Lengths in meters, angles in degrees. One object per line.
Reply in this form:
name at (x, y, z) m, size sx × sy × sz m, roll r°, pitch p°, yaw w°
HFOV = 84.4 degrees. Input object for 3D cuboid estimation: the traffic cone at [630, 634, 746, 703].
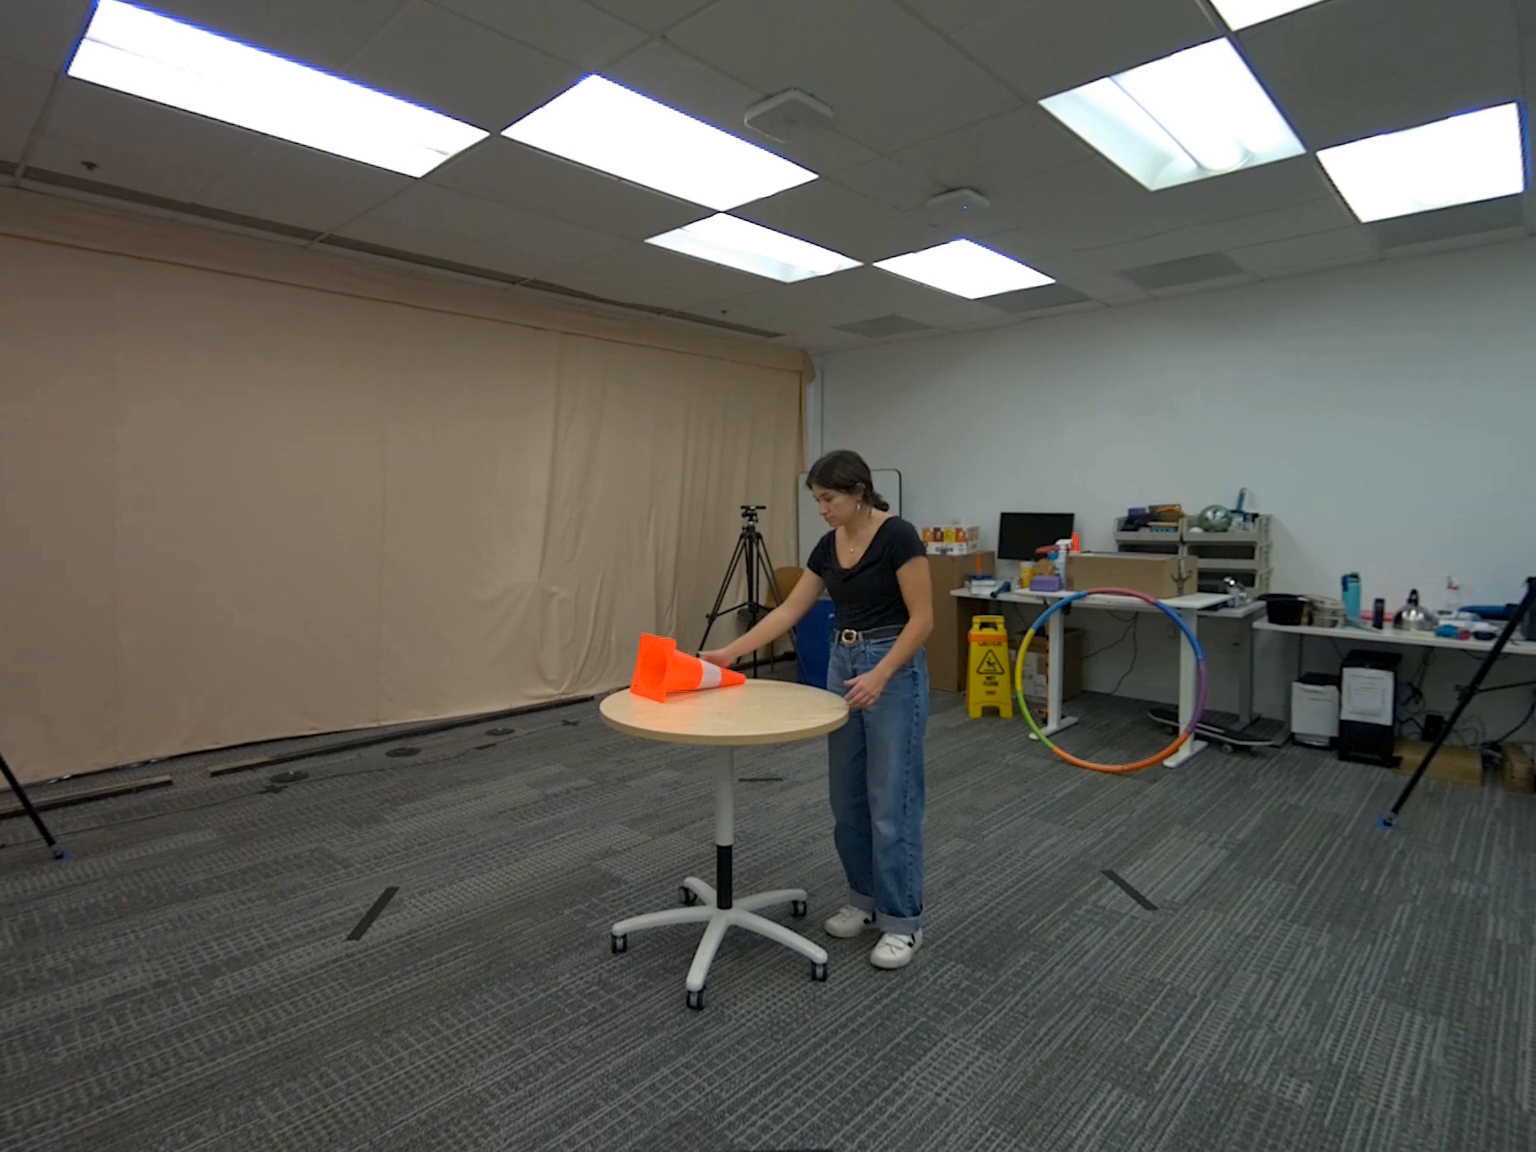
traffic cone at (-0.221, 0.331, 2.786) m, size 0.371 × 0.204 × 0.211 m, roll 13°, pitch -5°, yaw -36°
